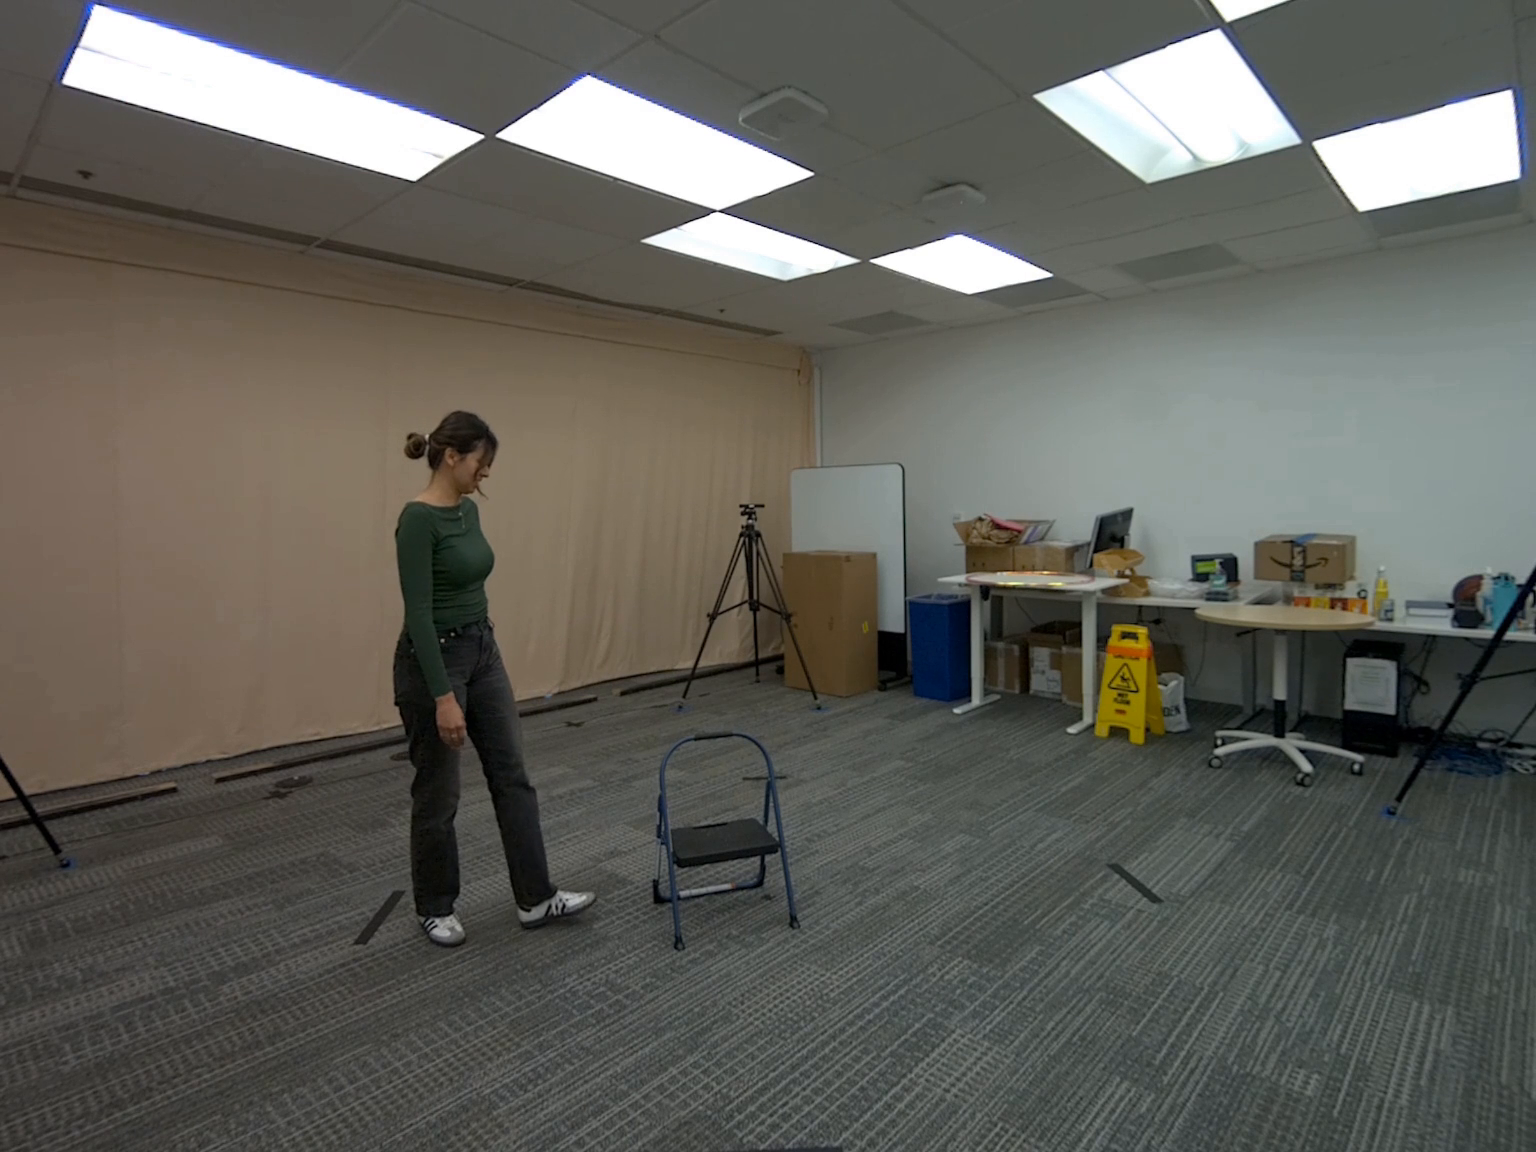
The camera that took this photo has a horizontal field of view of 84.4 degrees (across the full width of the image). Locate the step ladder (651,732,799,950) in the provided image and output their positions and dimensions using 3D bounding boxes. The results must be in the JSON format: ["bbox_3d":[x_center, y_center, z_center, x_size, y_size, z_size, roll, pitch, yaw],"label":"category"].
[{"bbox_3d":[-0.153,0.851,2.851,0.422,0.605,0.357,-2,3,-19],"label":"step ladder"}]
